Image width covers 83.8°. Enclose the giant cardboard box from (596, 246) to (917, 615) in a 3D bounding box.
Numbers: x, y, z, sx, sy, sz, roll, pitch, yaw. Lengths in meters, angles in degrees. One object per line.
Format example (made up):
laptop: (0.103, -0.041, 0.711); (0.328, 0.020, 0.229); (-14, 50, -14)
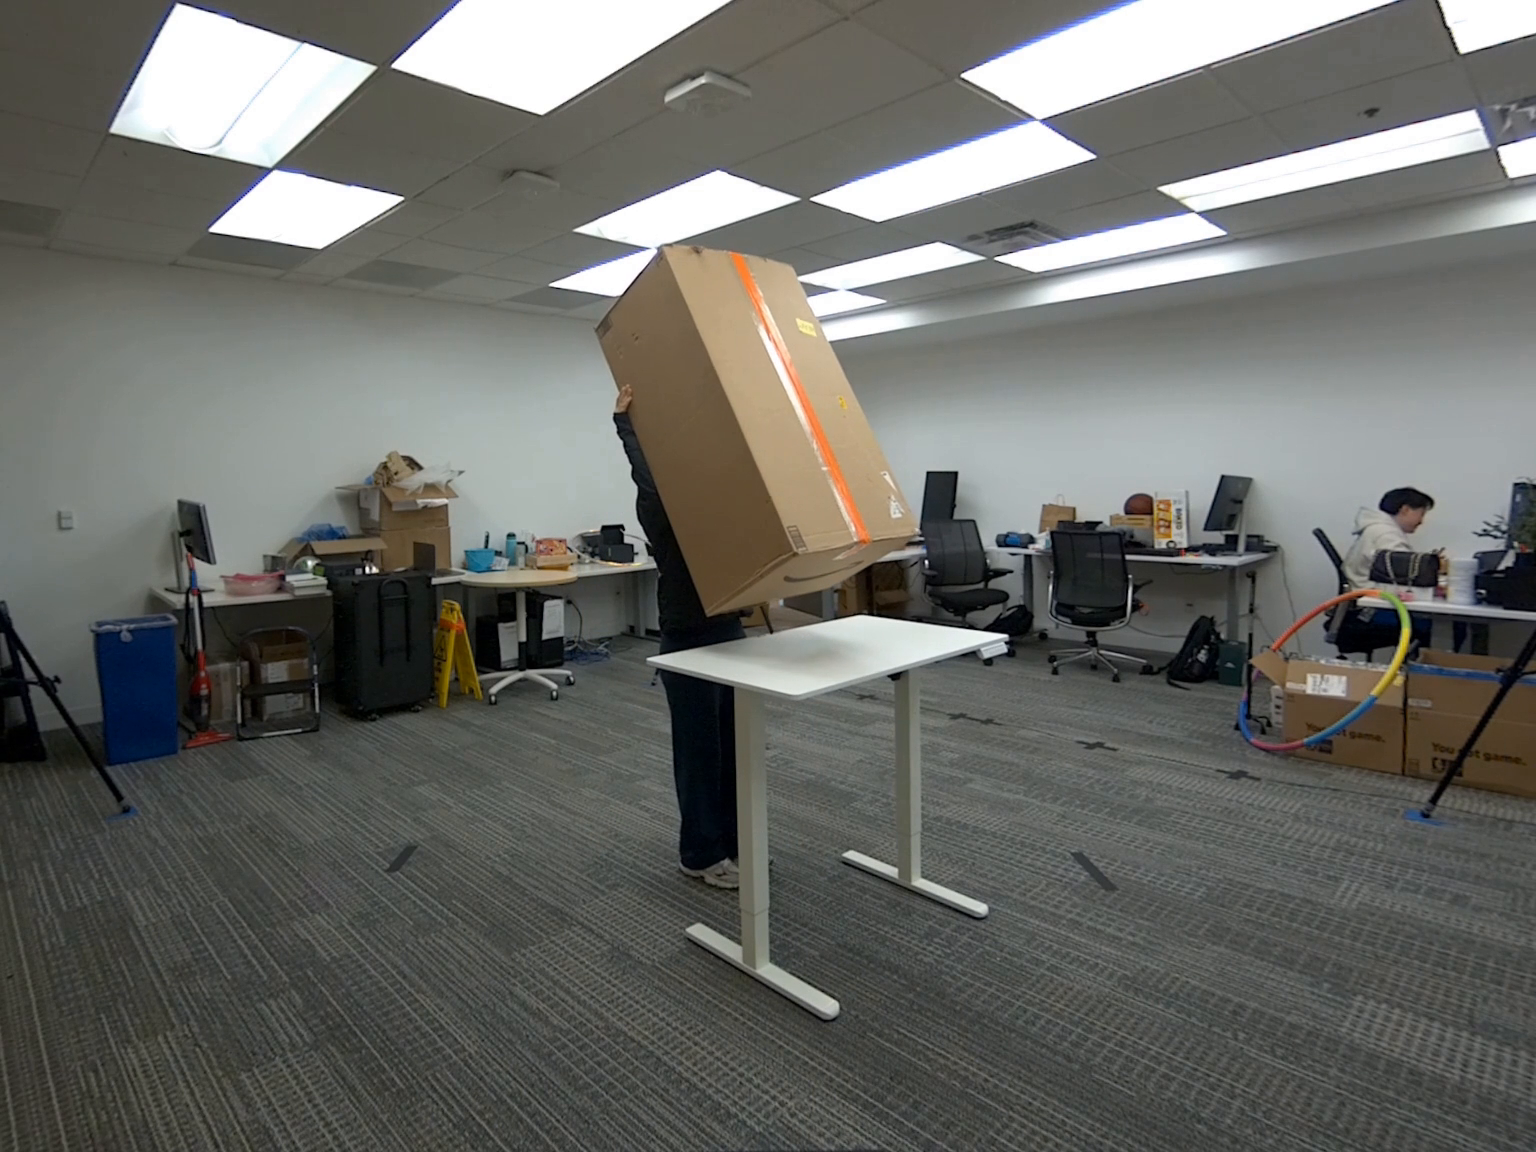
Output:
giant cardboard box: (-0.050, -0.462, 2.703); (0.570, 1.045, 0.450); (-9, -20, -43)
